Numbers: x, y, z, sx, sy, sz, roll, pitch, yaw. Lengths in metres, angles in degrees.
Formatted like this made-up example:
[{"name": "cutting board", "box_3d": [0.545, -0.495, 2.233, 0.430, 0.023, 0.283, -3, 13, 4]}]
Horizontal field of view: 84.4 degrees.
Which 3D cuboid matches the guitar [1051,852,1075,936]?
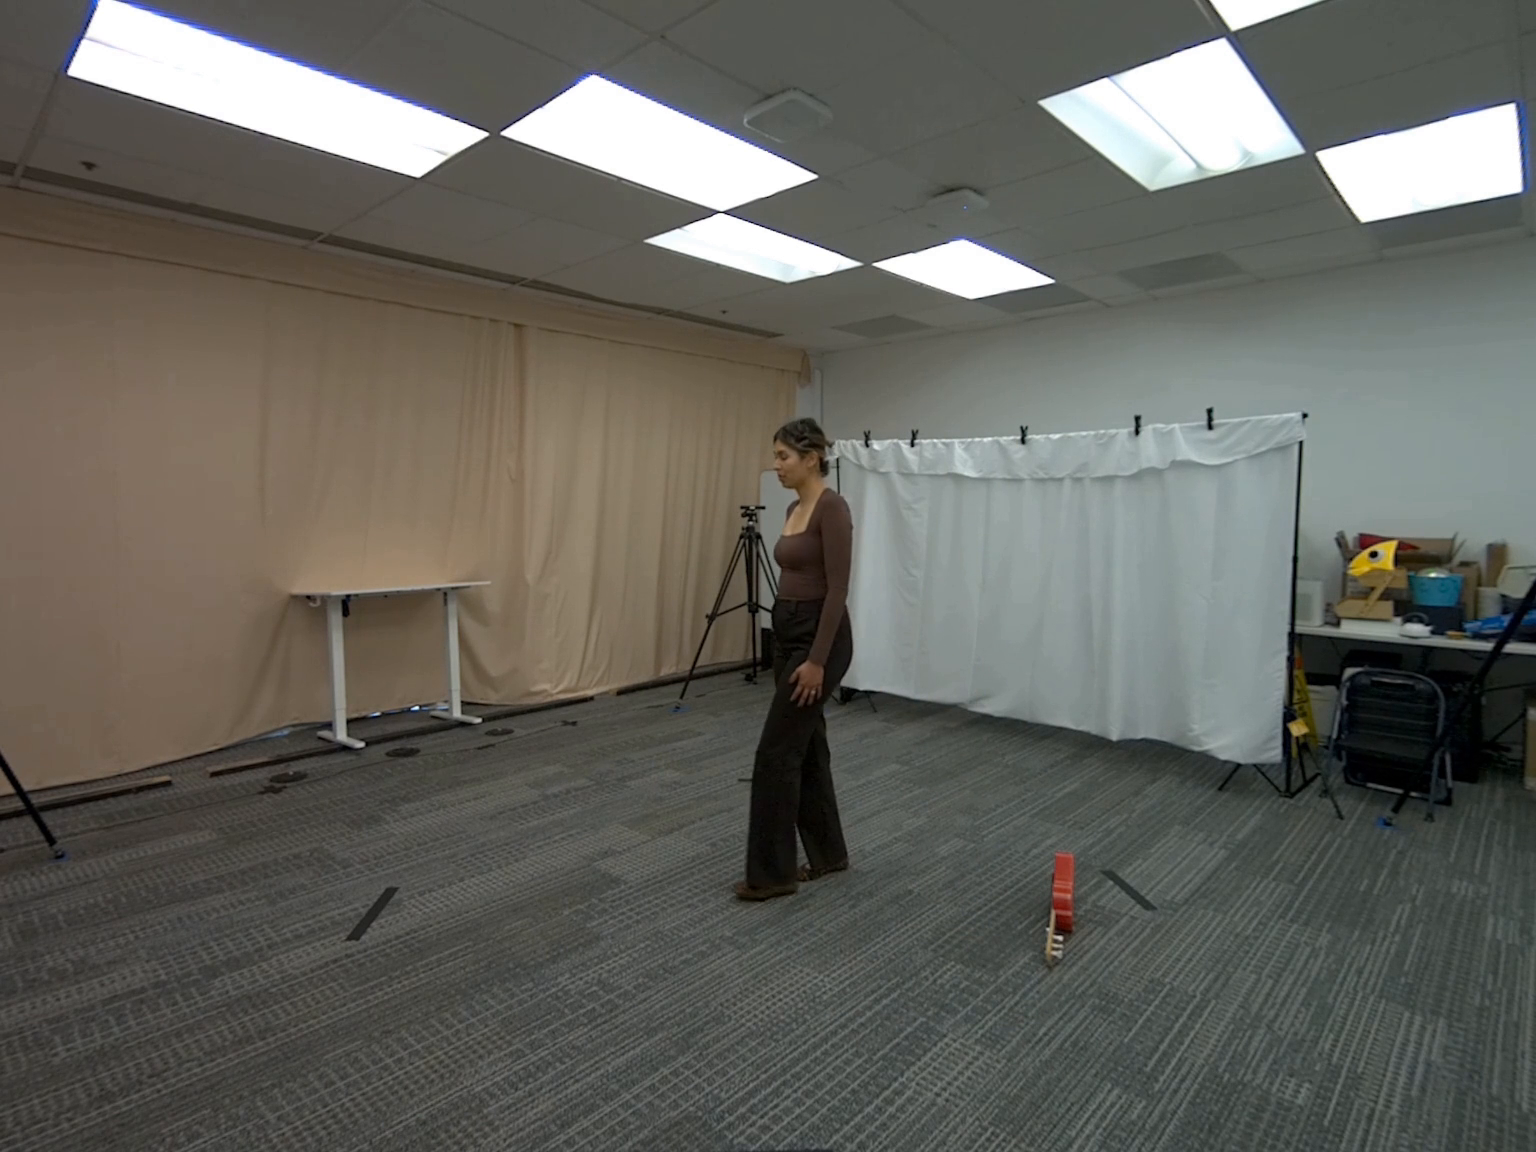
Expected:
[{"name": "guitar", "box_3d": [0.961, 1.124, 2.742, 0.072, 0.190, 0.493, 0, 23, 23]}]
